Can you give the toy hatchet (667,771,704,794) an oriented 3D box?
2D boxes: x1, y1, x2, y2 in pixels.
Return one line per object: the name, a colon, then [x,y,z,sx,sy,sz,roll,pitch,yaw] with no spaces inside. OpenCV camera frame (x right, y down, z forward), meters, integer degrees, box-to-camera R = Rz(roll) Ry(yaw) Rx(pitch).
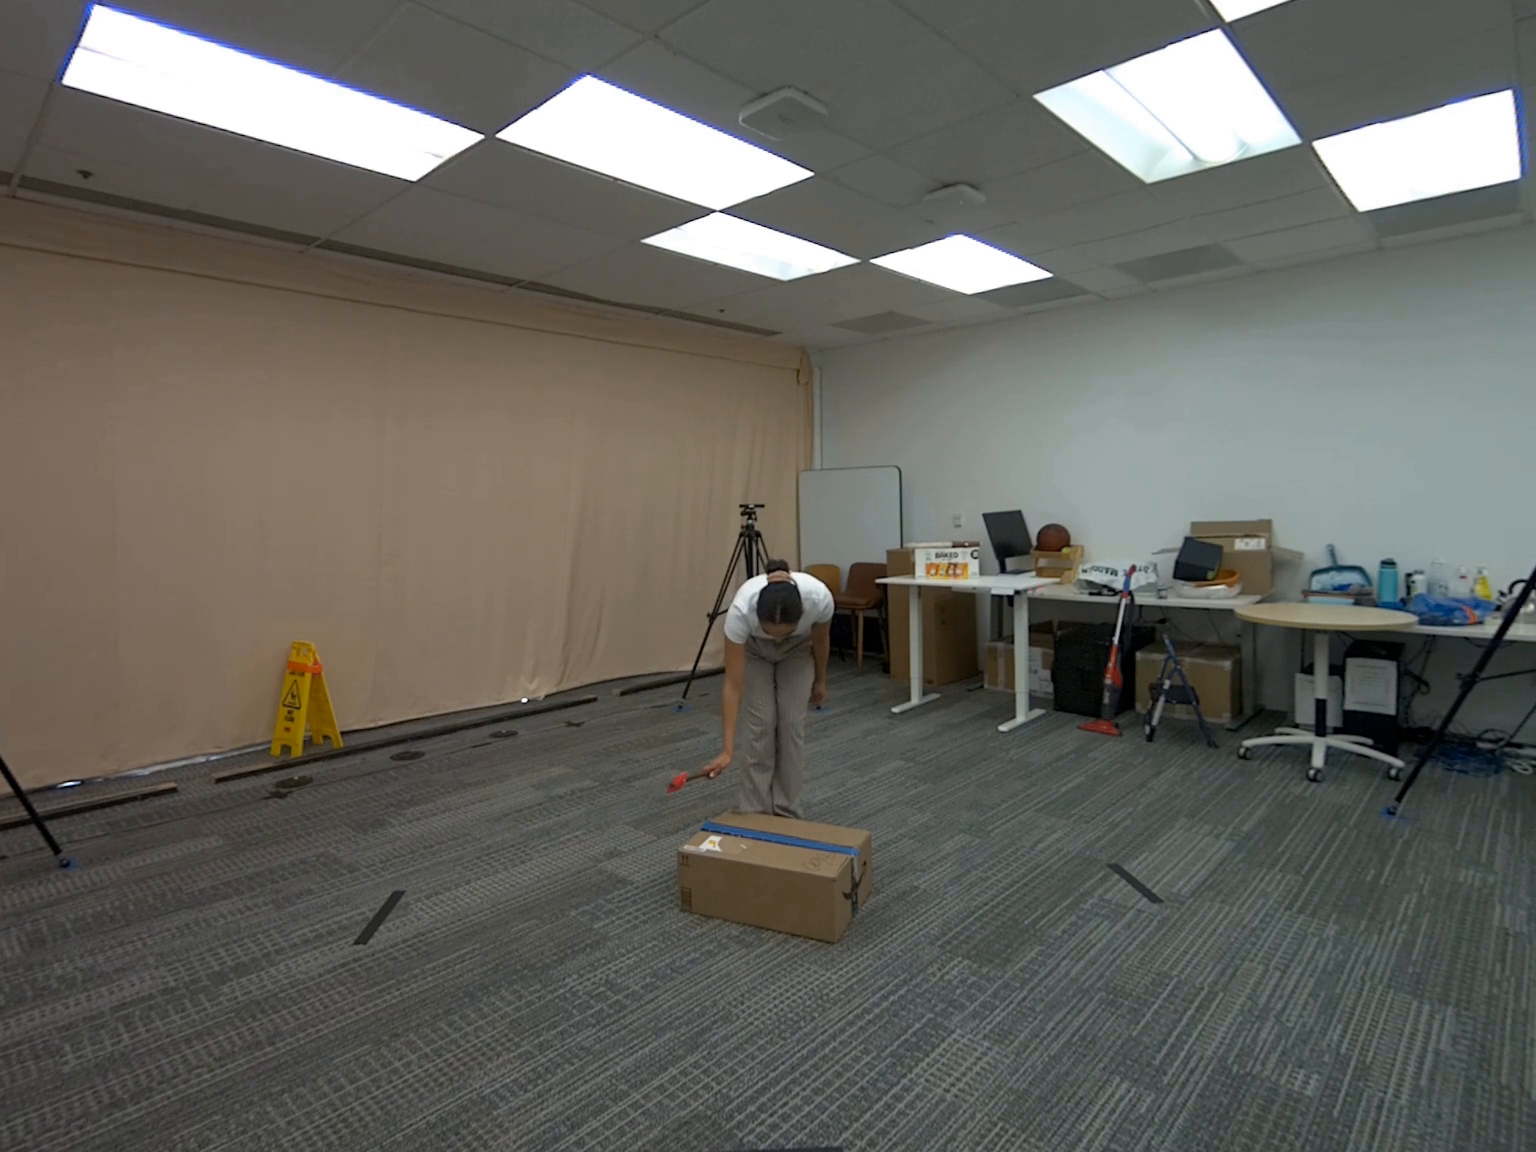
toy hatchet: [-0.280,0.760,3.121,0.132,0.030,0.261,-42,-26,20]
